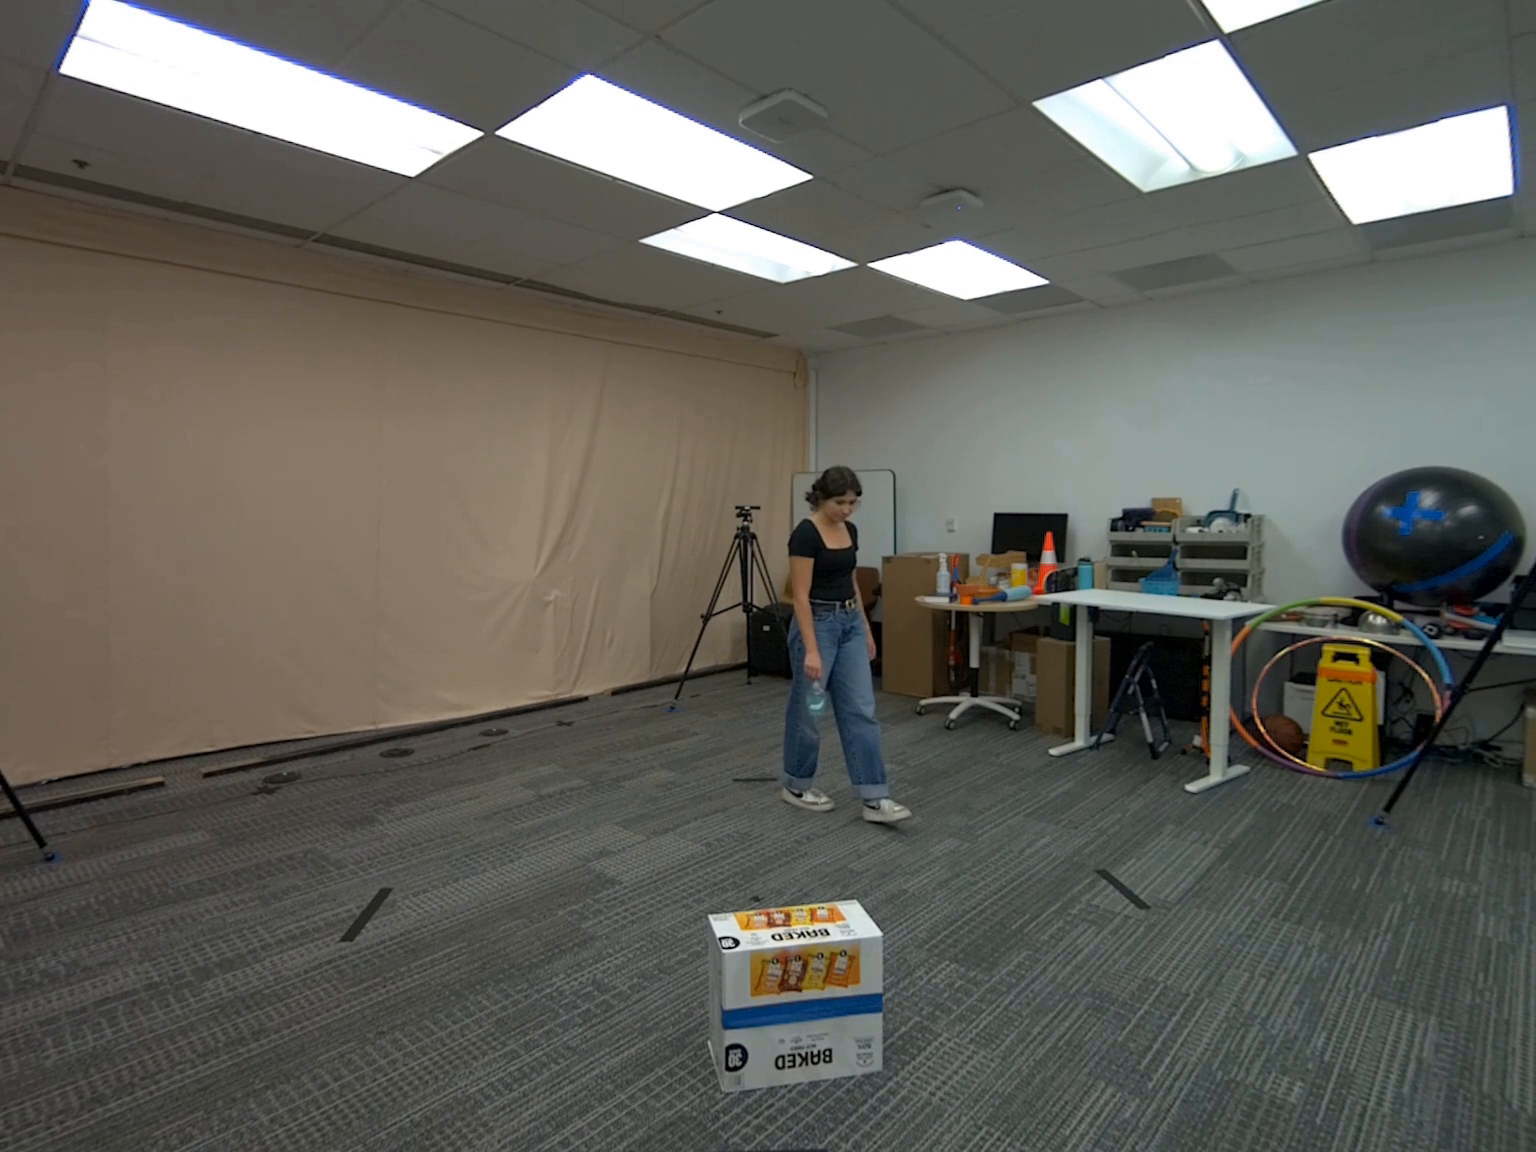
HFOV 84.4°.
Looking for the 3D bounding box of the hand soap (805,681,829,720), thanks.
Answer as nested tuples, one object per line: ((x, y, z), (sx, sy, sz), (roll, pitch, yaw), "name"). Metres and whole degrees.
((0.215, 0.499, 3.574), (0.085, 0.168, 0.043), (5, -3, 10), "hand soap")
